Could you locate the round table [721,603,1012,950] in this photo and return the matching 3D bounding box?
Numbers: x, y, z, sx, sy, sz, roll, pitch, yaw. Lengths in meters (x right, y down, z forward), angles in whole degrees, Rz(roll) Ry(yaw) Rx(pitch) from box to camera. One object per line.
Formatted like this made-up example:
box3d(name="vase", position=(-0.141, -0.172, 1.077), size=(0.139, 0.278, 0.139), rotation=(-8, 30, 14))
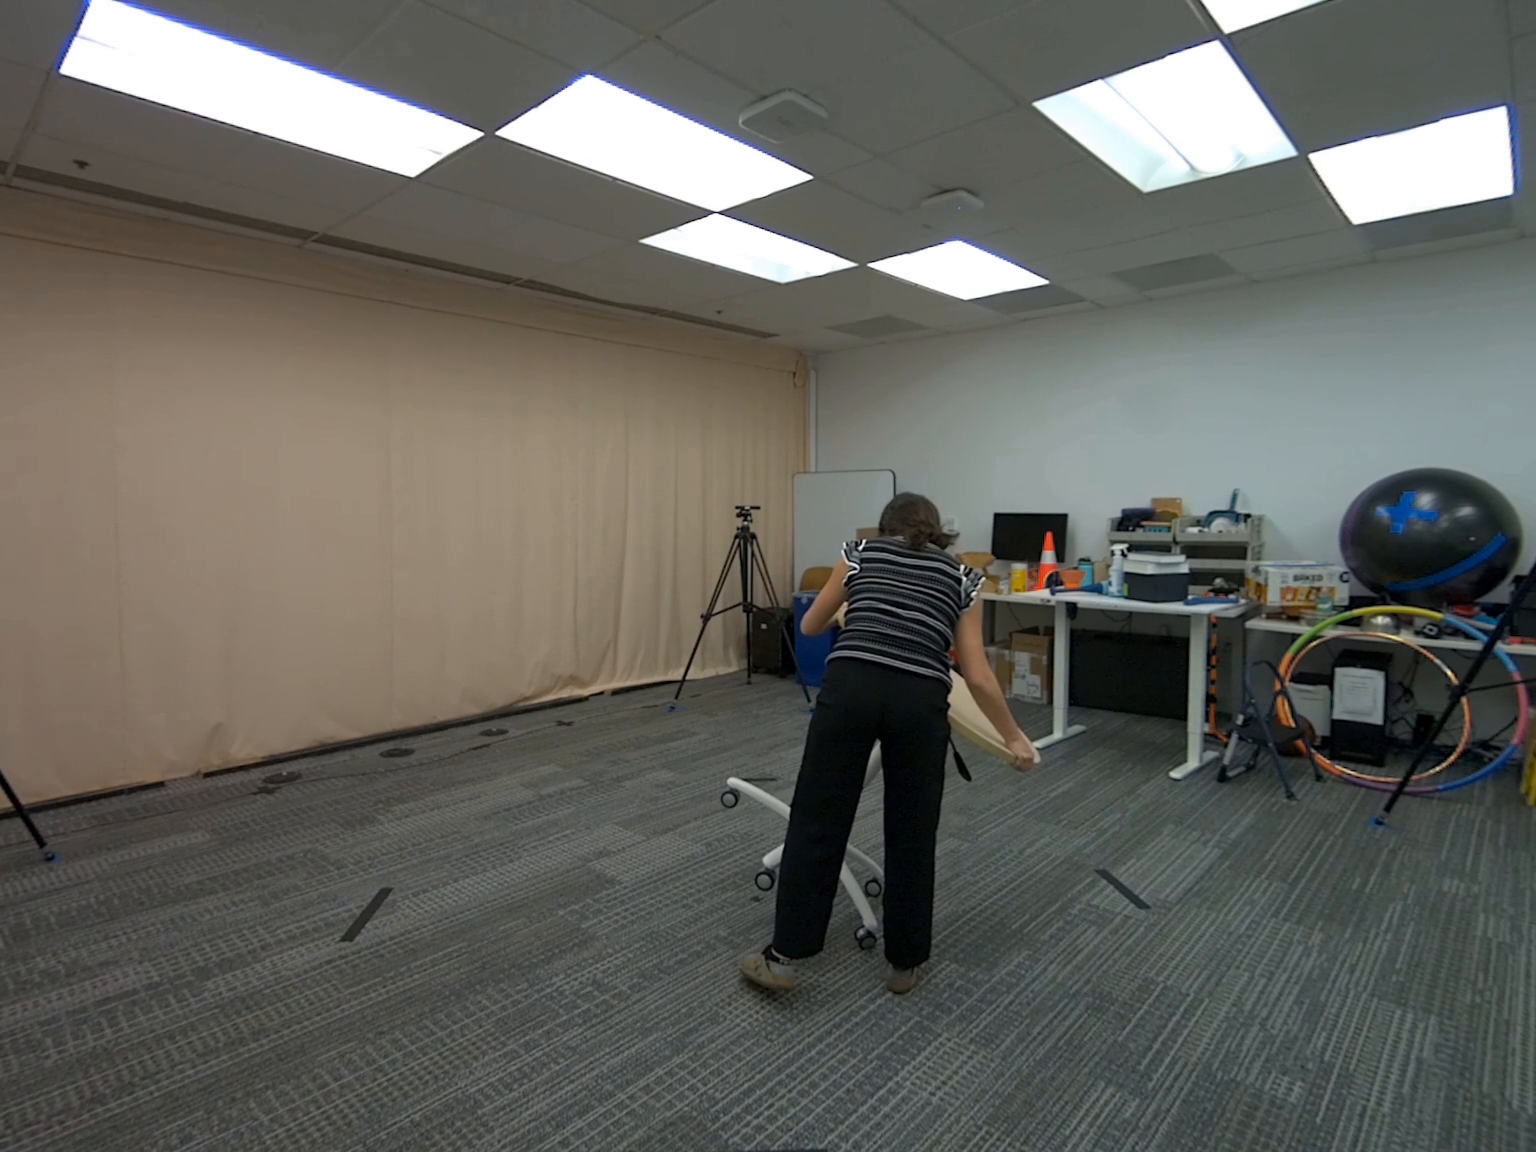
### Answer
box3d(name="round table", position=(0.316, 0.654, 2.810), size=(0.778, 0.787, 0.792), rotation=(34, 10, -9))
